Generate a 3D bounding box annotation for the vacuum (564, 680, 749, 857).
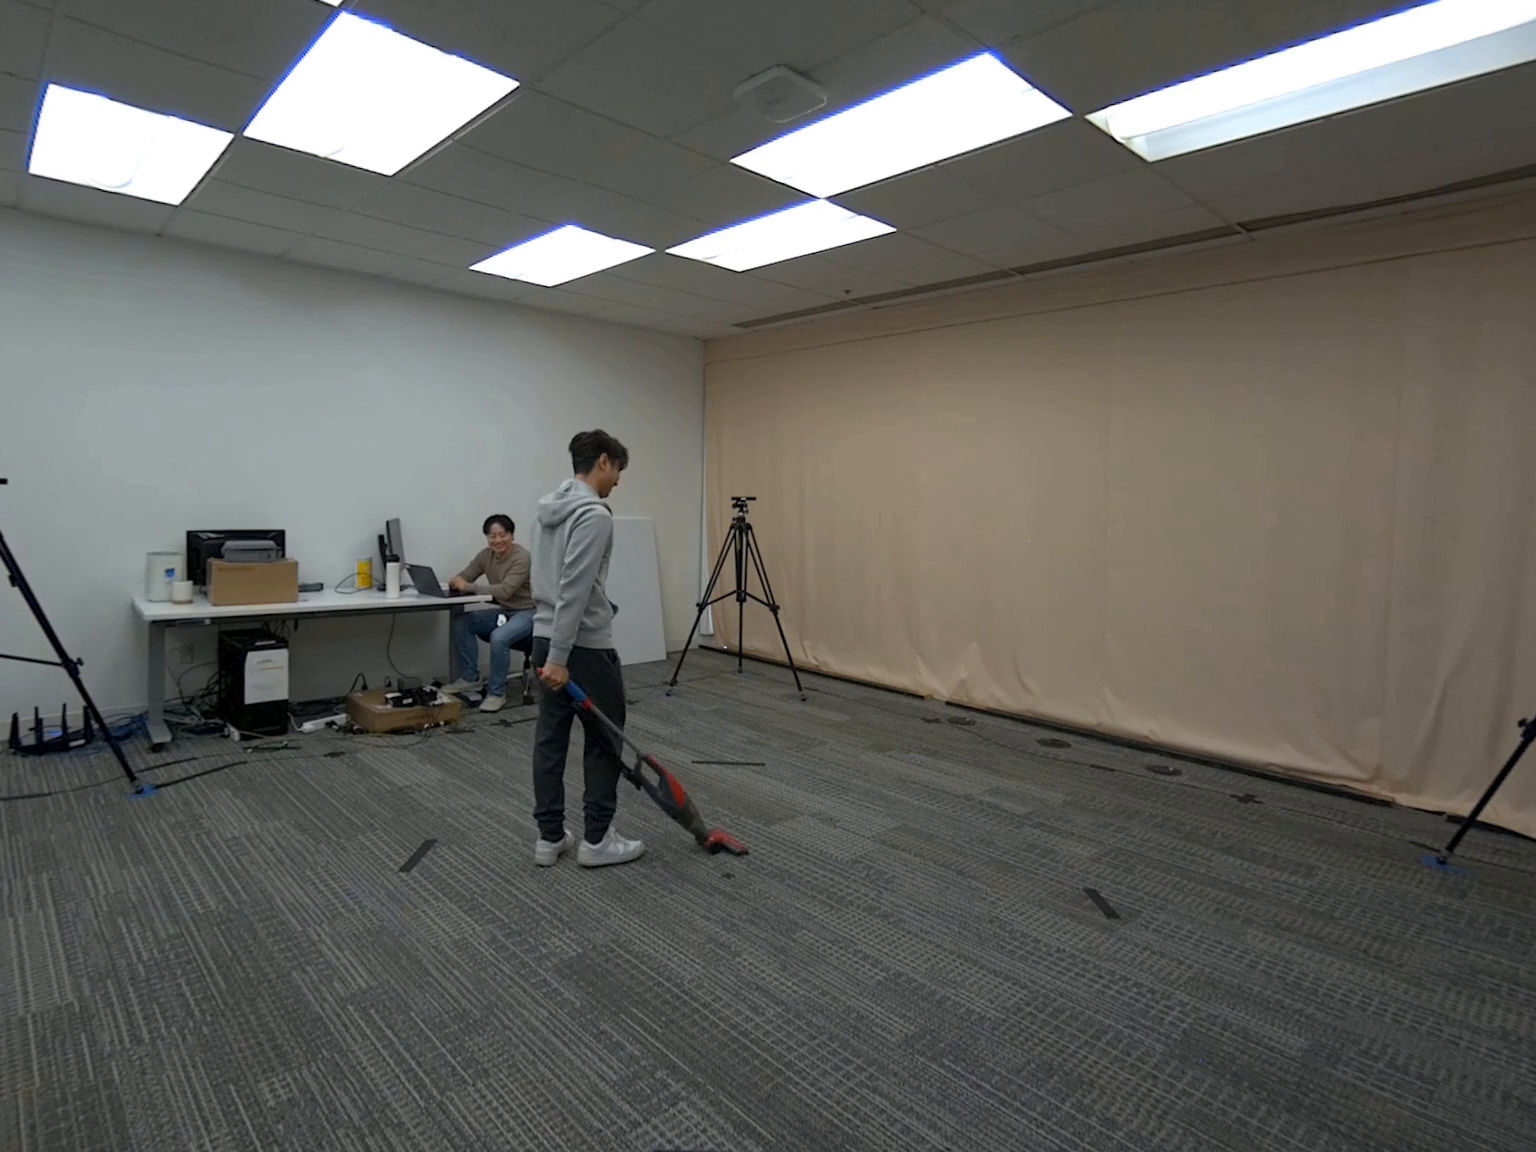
[{"bbox_3d":[-0.478,0.722,3.177,0.258,0.144,1.024,-2,-45,53],"label":"vacuum"}]
